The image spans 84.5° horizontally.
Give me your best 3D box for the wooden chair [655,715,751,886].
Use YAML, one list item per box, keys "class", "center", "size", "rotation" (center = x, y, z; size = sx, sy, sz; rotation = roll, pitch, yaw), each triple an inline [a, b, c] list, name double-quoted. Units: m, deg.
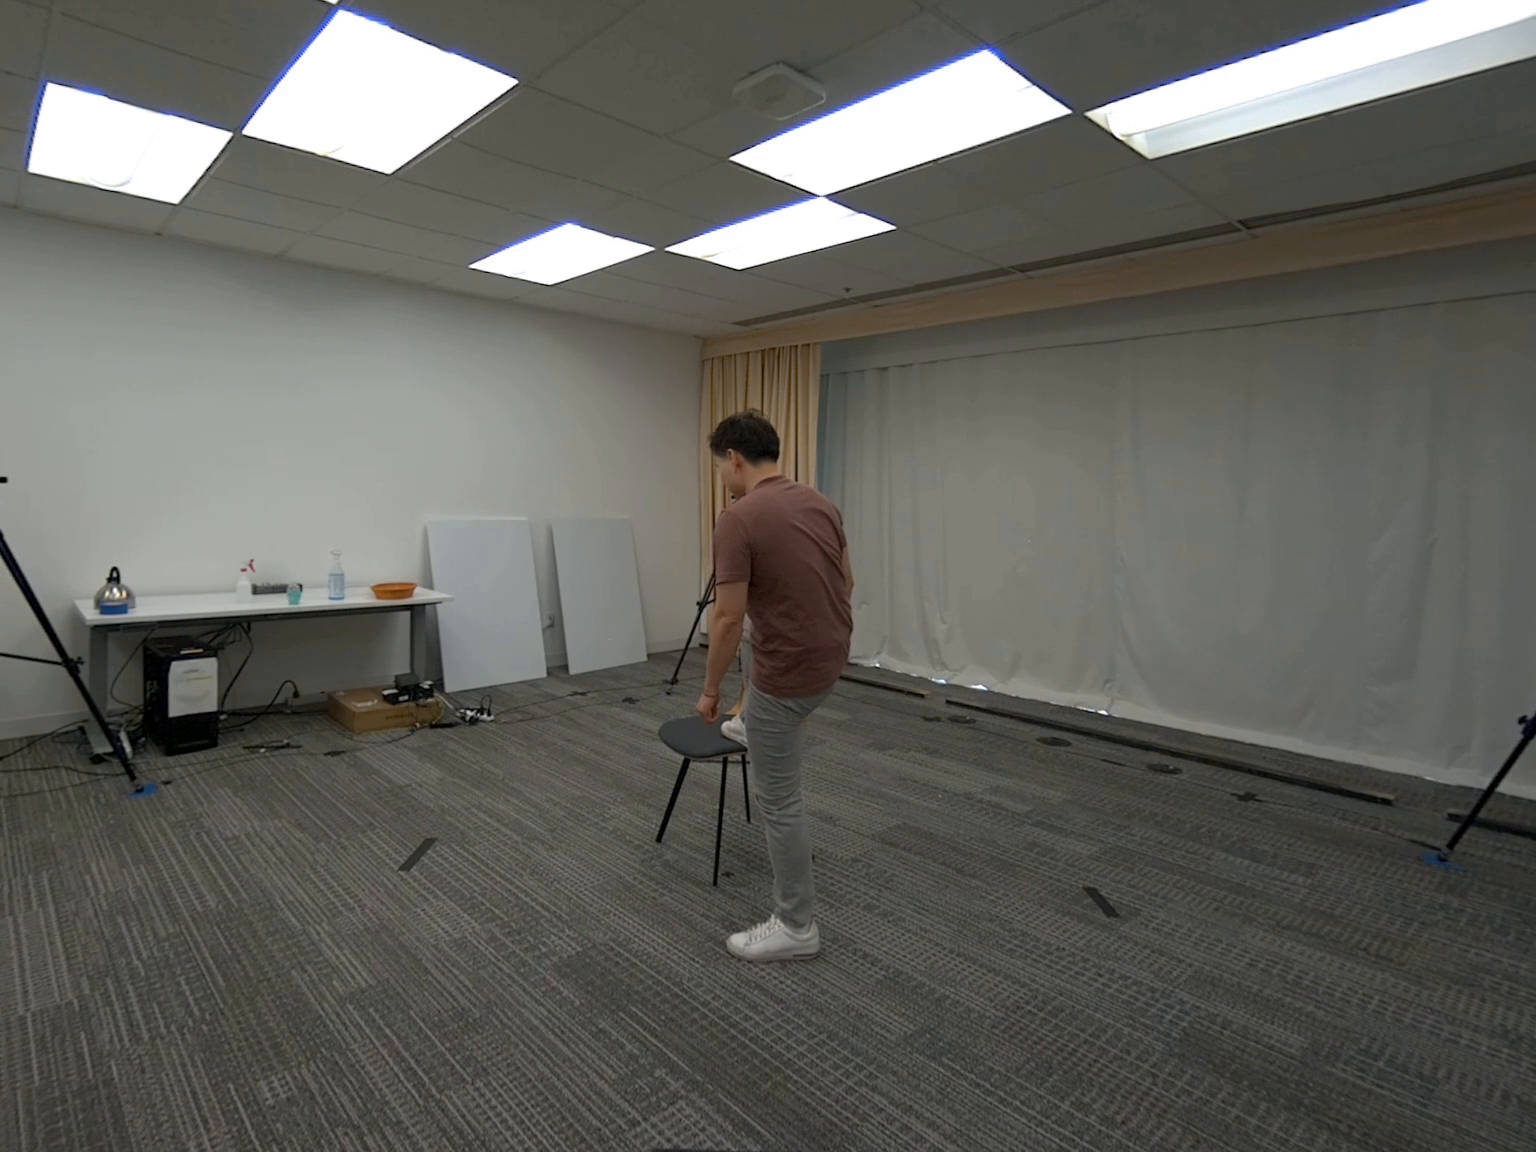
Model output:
- class: "wooden chair"
  center: [-0.140, 0.661, 3.279]
  size: [0.511, 0.877, 0.490]
  rotation: [4, 1, -35]
